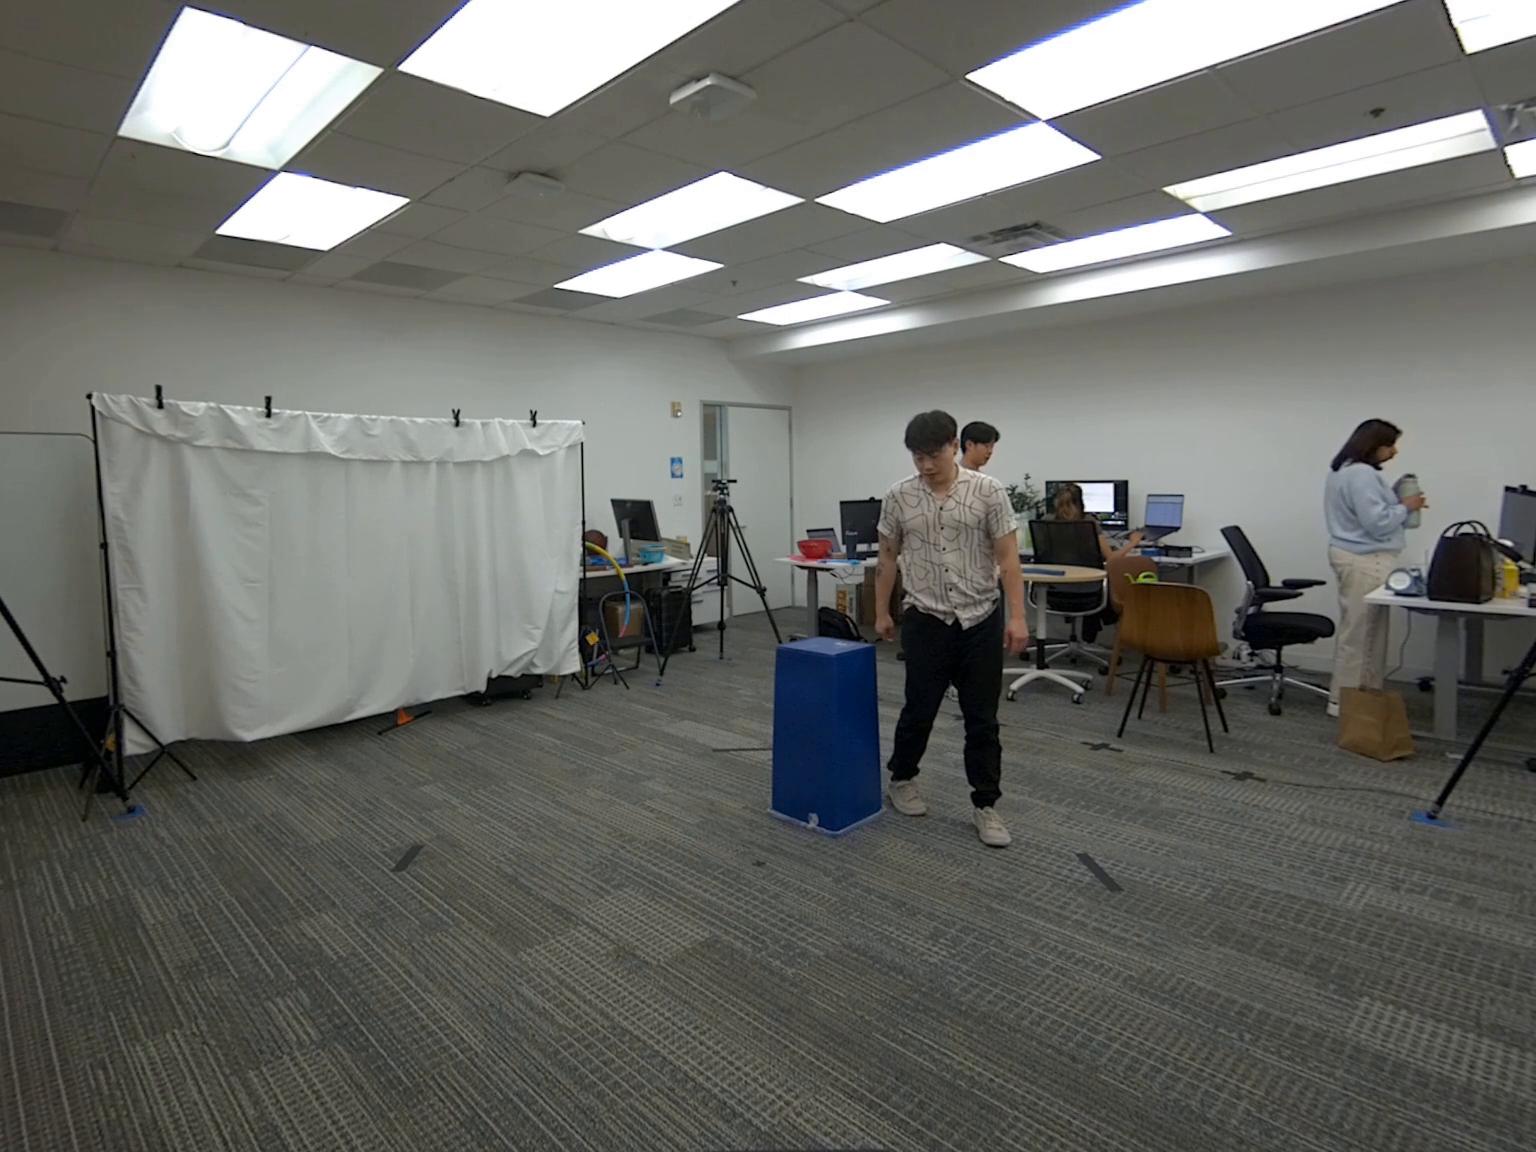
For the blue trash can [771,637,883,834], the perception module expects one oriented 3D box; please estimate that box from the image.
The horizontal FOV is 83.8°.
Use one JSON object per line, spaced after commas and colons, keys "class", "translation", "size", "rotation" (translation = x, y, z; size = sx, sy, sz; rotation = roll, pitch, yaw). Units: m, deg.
{"class": "blue trash can", "translation": [0.252, 0.640, 3.548], "size": [0.390, 0.711, 0.364], "rotation": [4, 6, 43]}
